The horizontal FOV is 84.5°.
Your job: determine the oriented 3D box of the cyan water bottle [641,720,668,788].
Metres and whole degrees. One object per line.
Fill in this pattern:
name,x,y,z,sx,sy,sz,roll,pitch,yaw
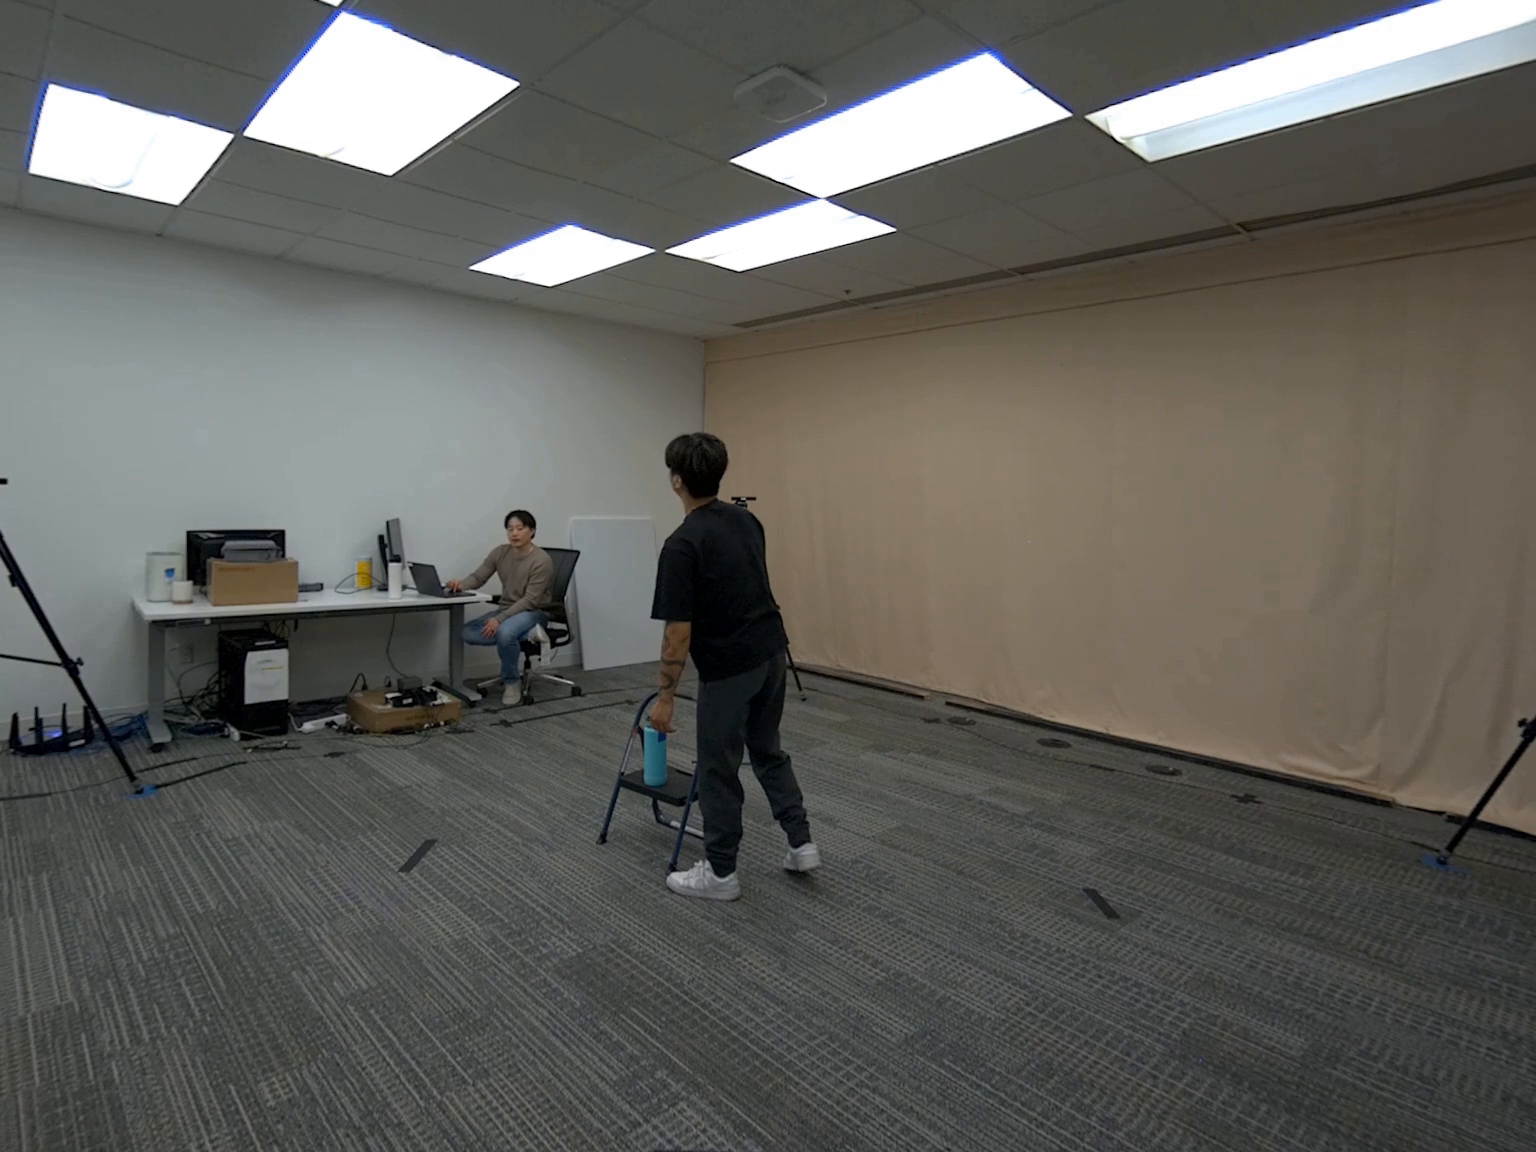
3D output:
cyan water bottle,-0.452,0.680,3.334,0.092,0.283,0.092,0,2,-1
